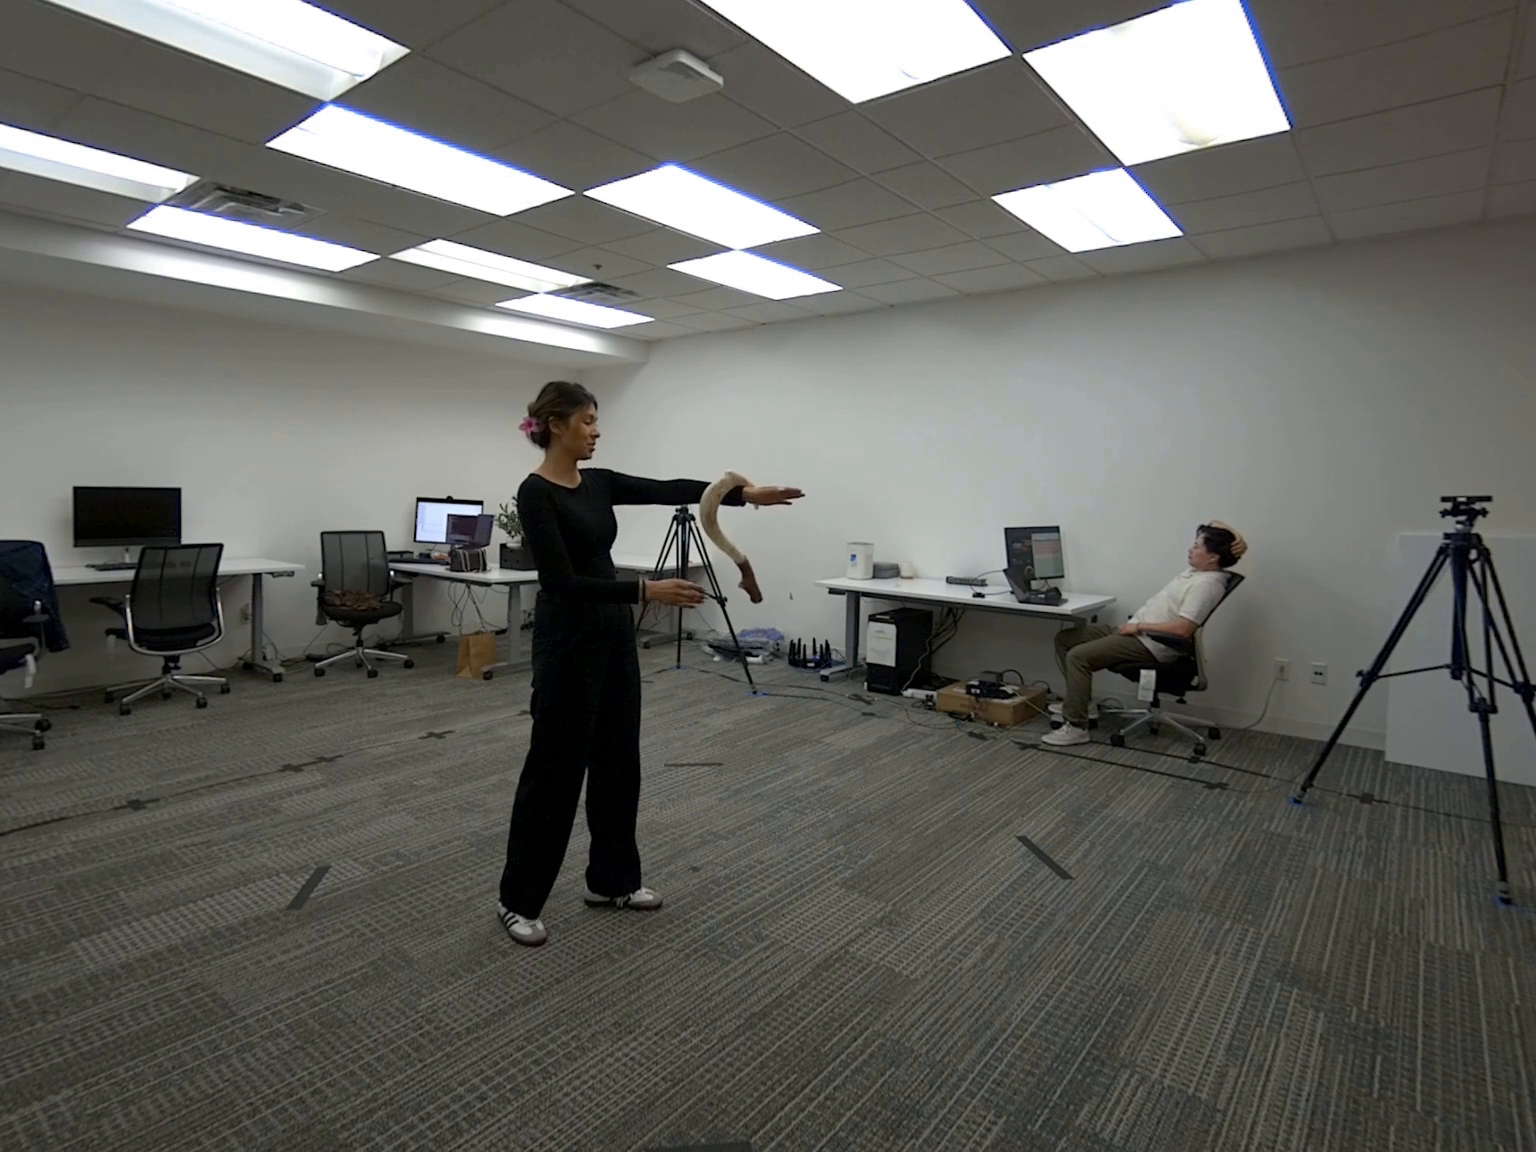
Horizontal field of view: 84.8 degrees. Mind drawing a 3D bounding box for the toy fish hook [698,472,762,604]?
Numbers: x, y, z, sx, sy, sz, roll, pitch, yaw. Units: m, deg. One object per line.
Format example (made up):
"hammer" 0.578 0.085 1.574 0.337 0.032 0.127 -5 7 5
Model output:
"toy fish hook" -0.083 -0.118 2.692 0.224 0.487 0.050 -39 42 -18
